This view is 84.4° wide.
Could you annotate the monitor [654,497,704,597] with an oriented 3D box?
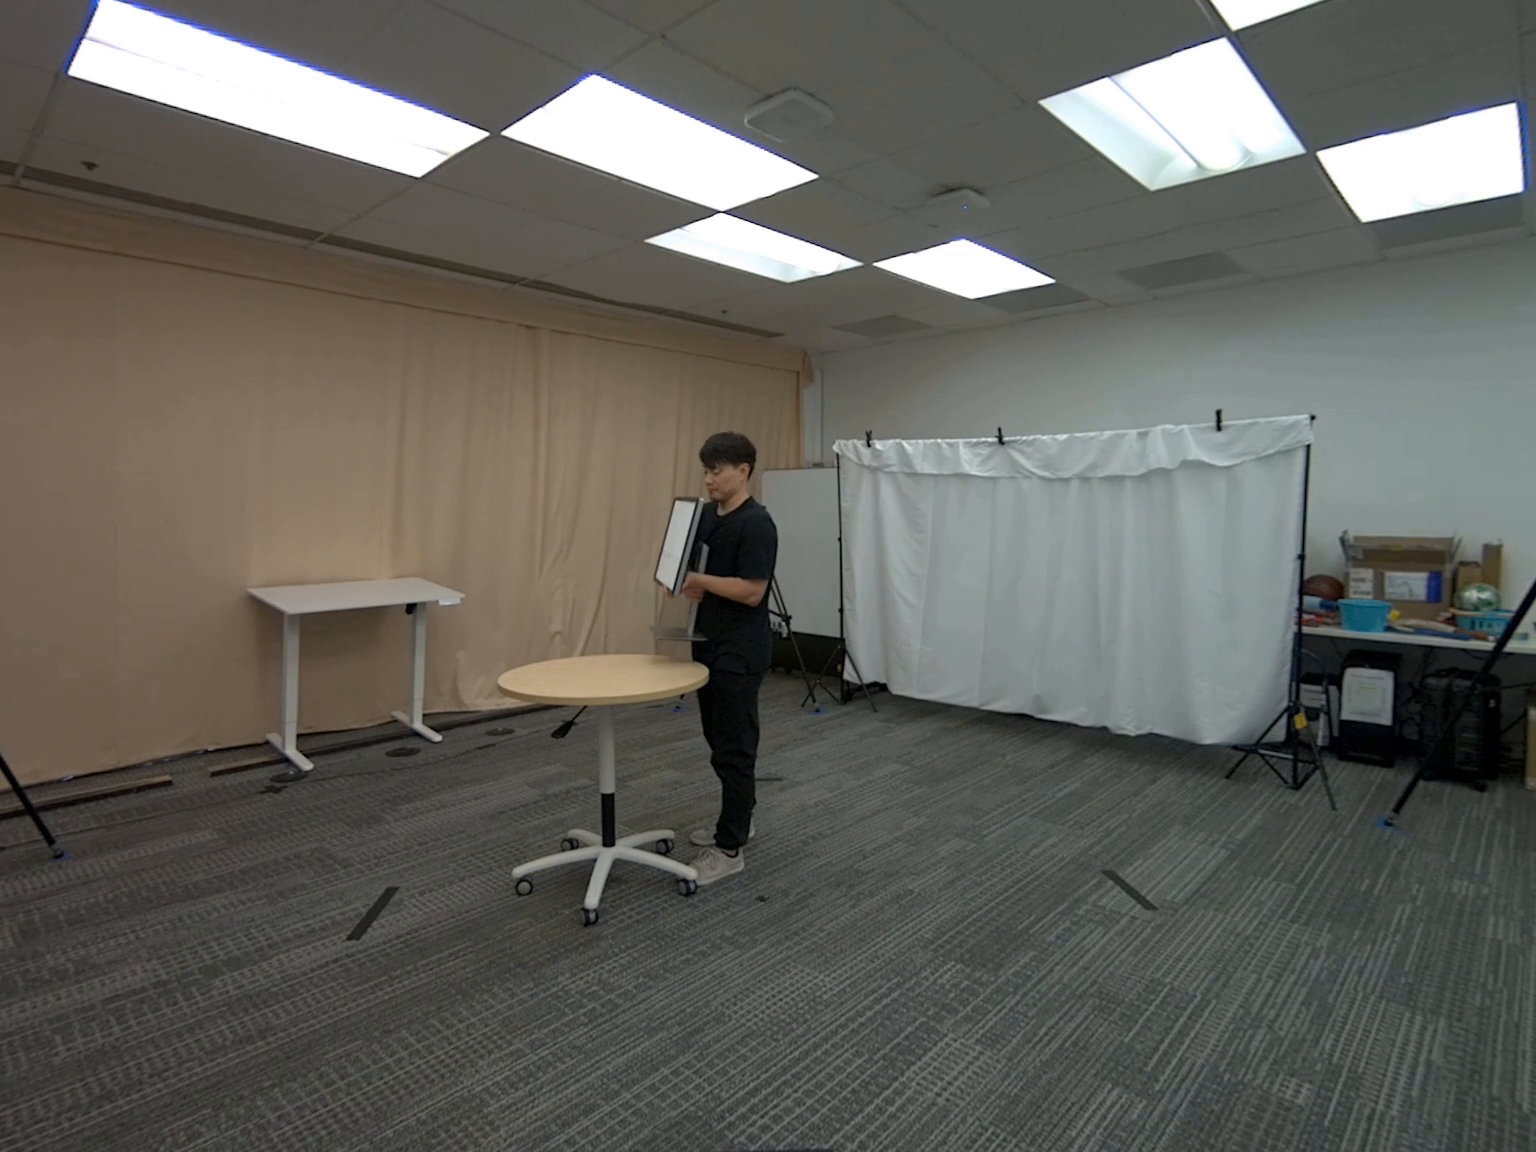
[{"bbox_3d":[-0.325,-0.028,3.280,0.184,0.521,0.549,2,4,-17],"label":"monitor"}]
